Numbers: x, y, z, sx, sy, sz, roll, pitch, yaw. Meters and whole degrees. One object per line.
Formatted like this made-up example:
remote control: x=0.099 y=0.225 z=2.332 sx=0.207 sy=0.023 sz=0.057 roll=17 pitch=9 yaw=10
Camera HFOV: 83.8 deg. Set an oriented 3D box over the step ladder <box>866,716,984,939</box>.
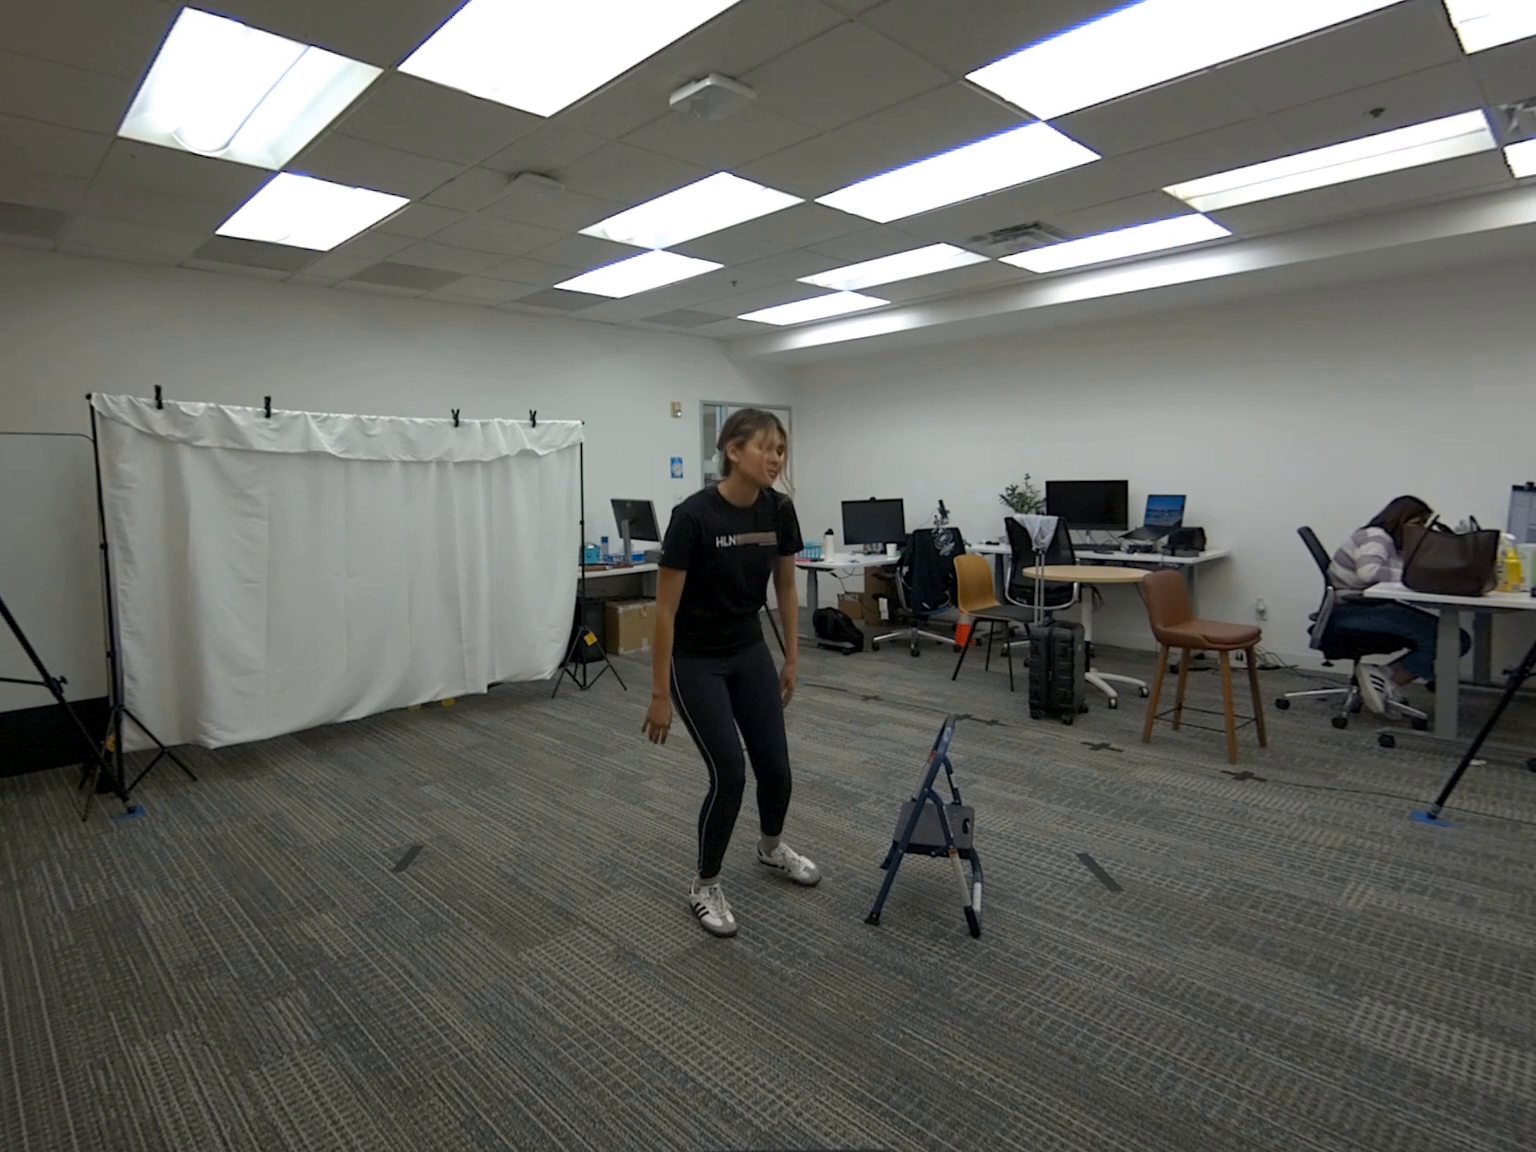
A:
step ladder: x=0.521 y=0.766 z=2.808 sx=0.355 sy=0.604 sz=0.425 roll=0 pitch=4 yaw=16
